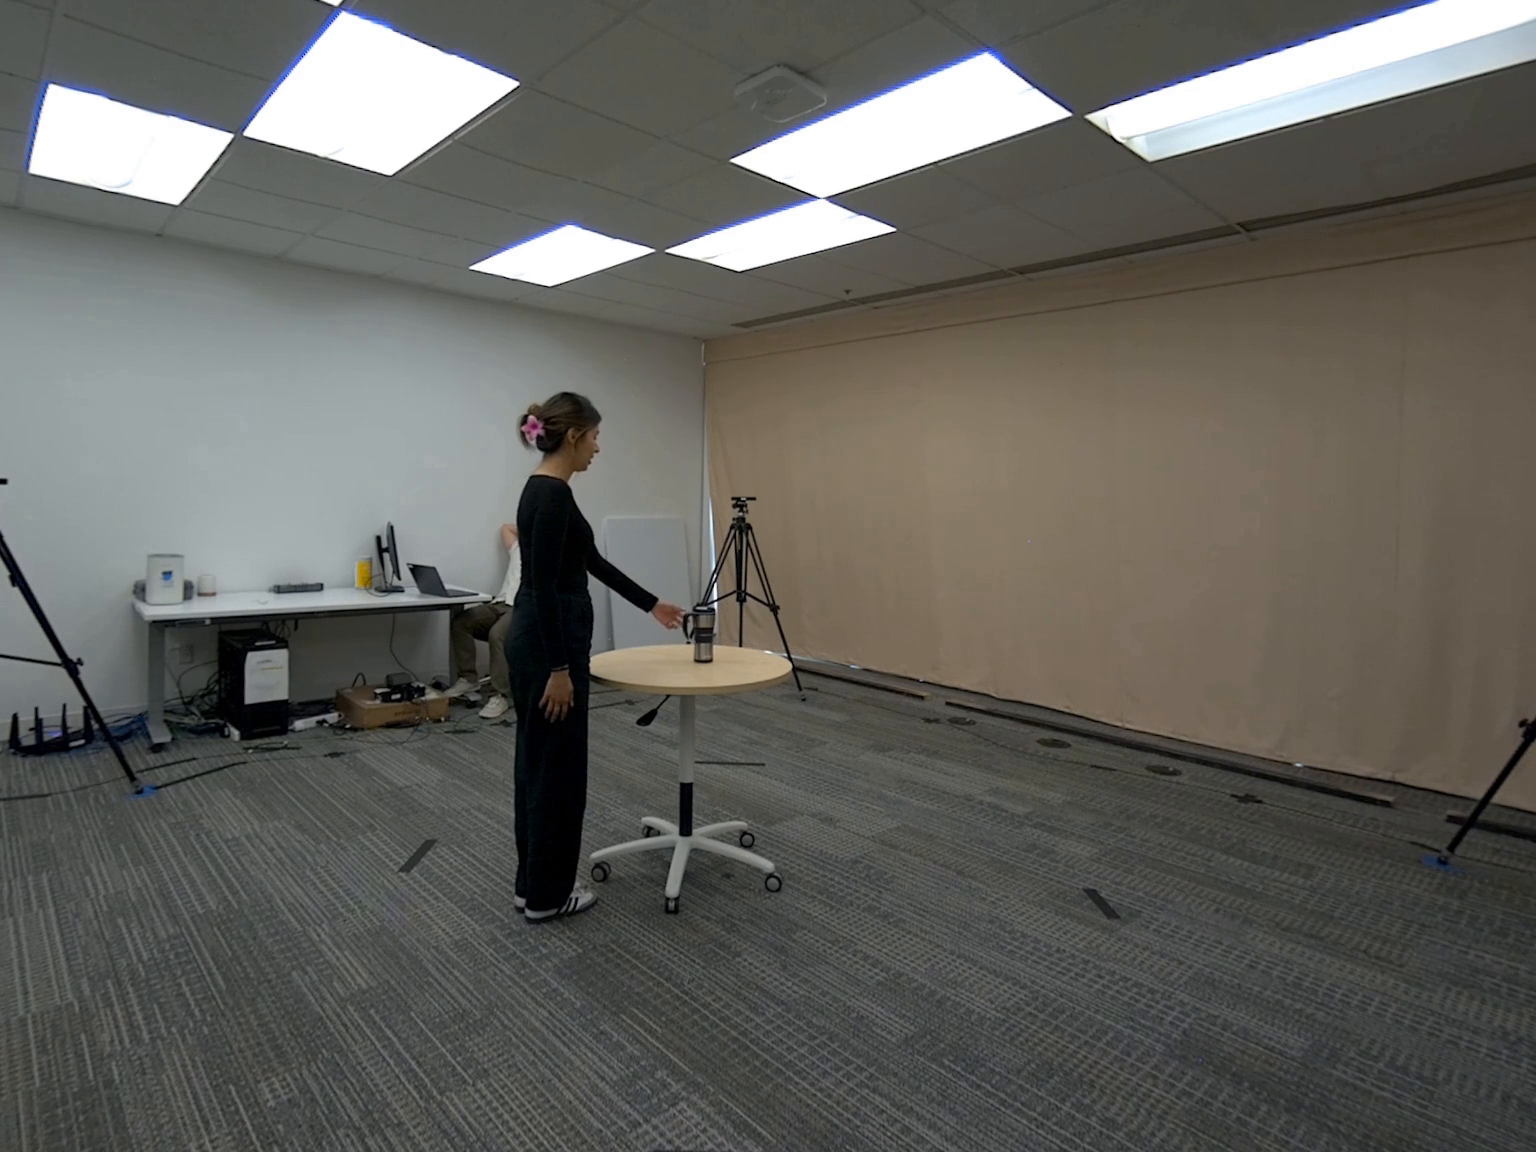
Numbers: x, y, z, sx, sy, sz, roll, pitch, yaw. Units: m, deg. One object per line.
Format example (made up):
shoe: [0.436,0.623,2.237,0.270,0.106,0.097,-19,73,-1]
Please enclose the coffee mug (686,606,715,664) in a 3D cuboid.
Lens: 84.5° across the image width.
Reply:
coffee mug: [-0.267,0.222,3.131,0.124,0.202,0.087,3,8,18]
